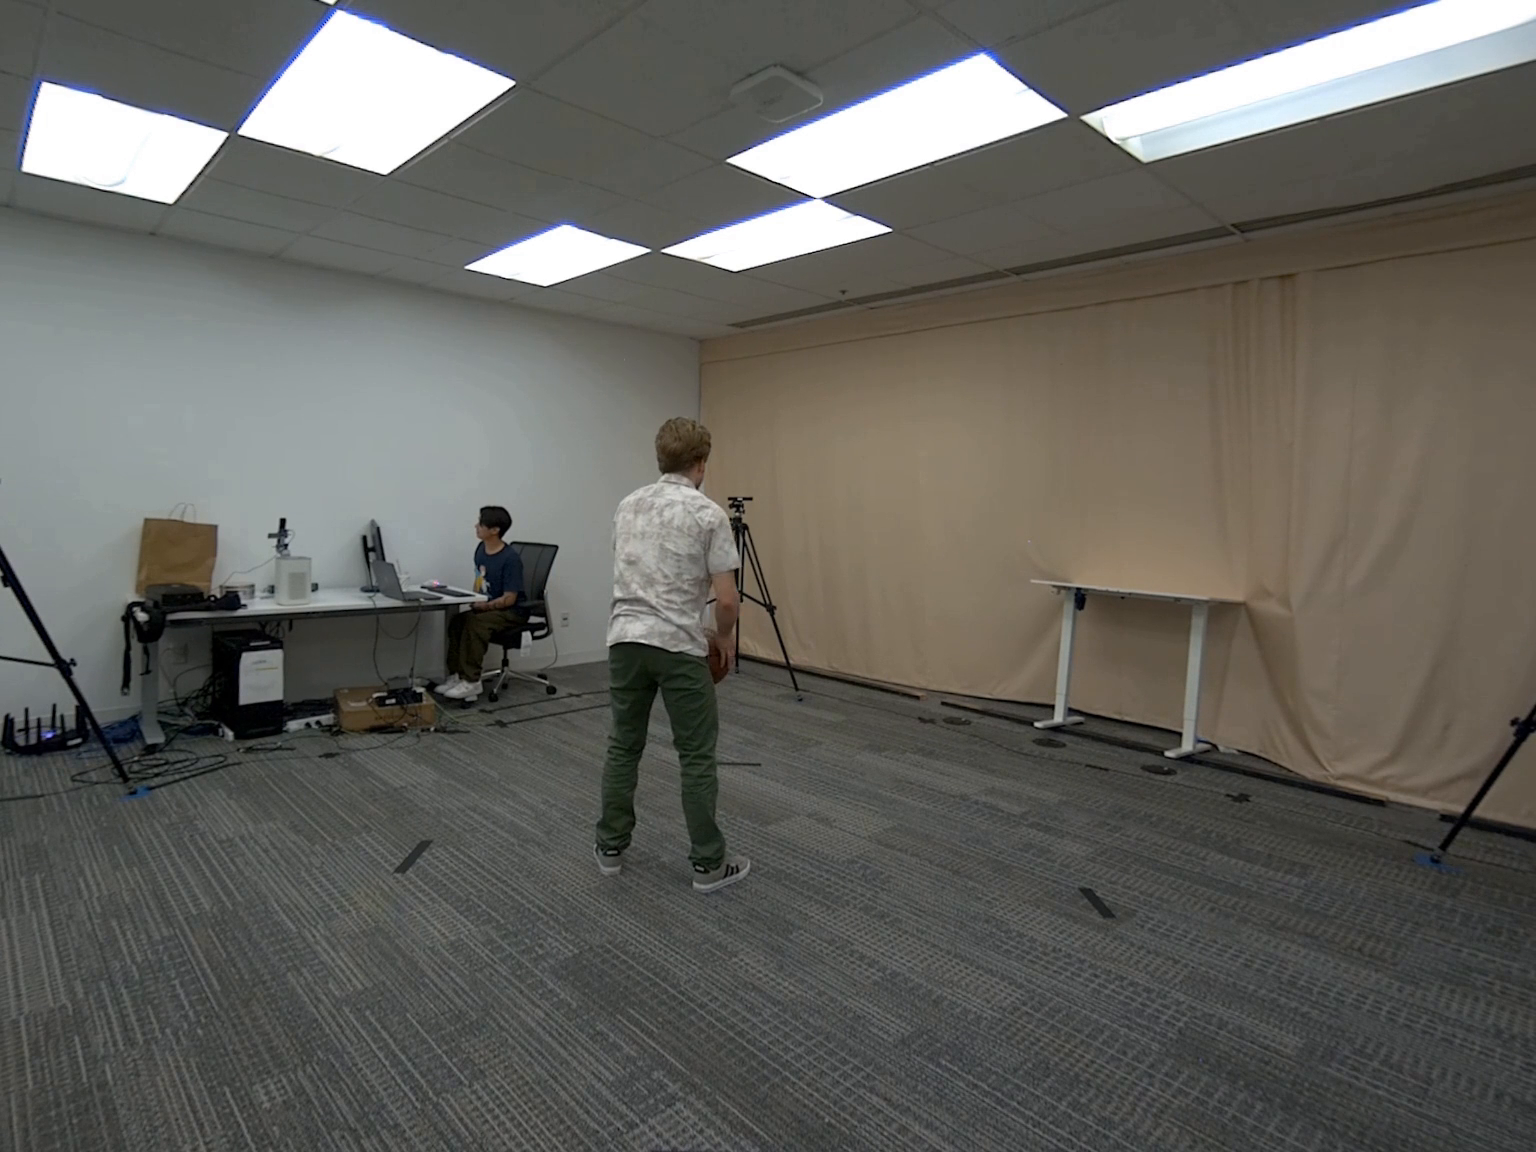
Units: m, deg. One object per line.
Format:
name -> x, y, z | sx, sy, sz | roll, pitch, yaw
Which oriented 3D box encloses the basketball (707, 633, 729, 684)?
basketball -> -0.281, 0.321, 3.359 | 0.236, 0.235, 0.237 | 1, 4, -1
